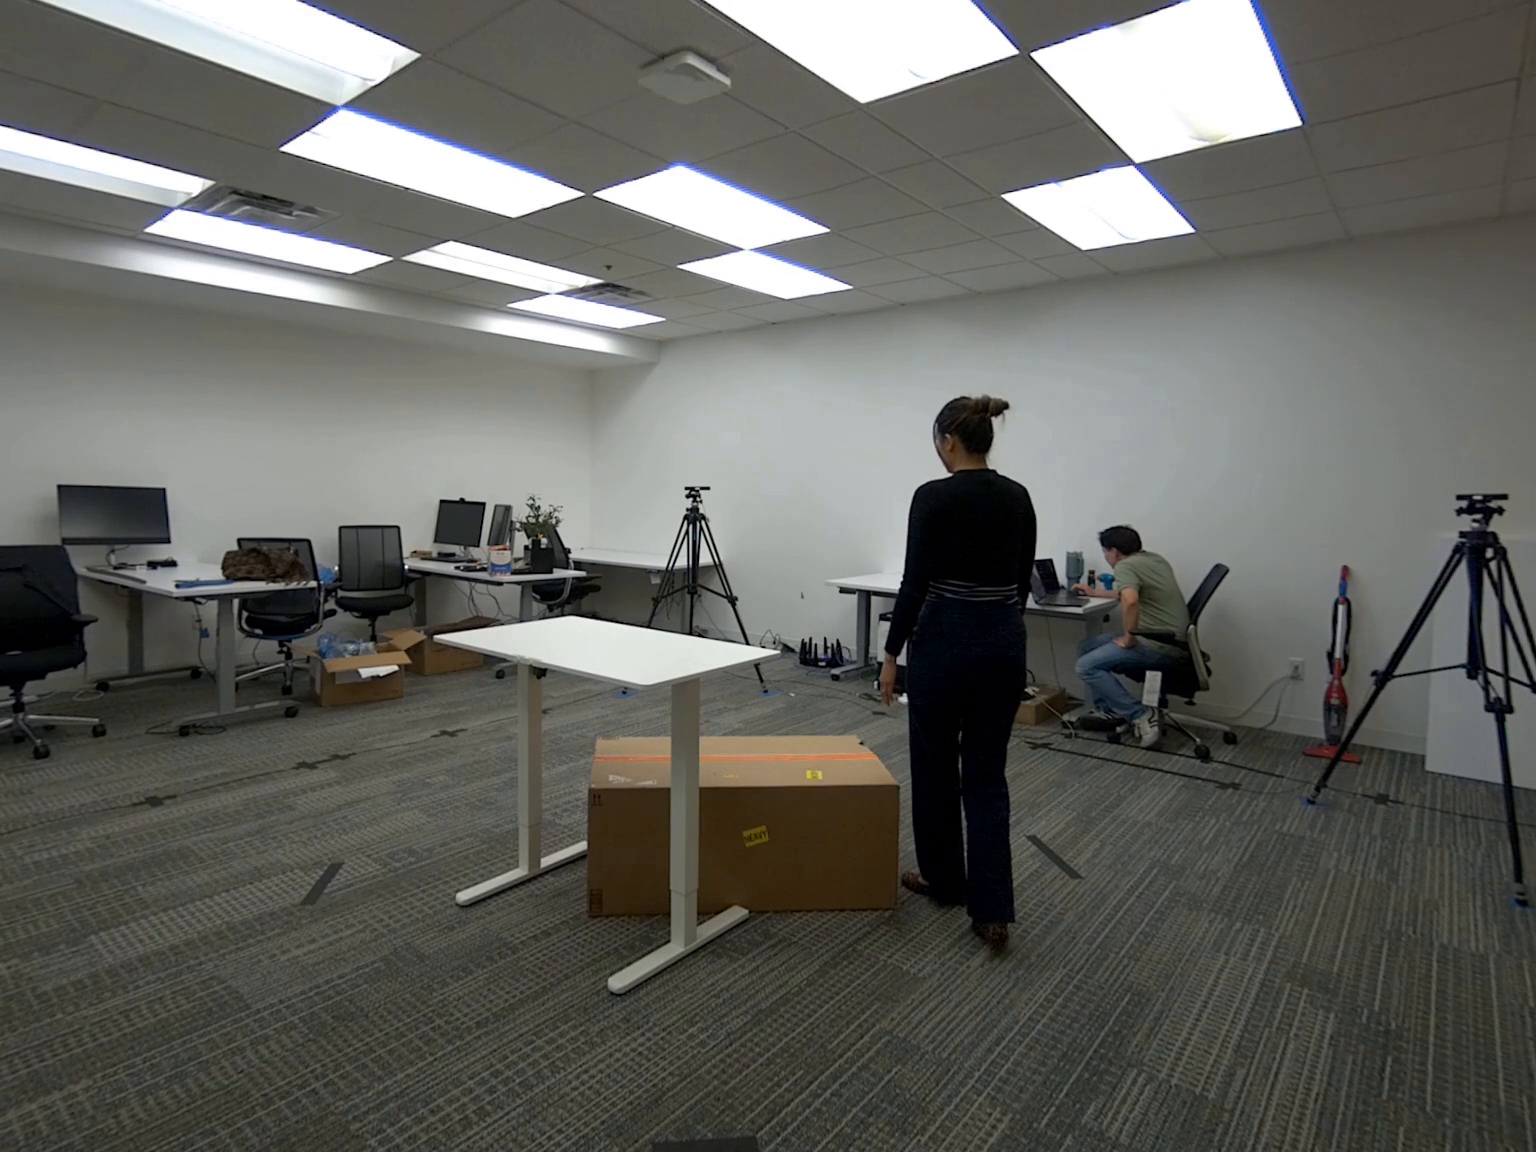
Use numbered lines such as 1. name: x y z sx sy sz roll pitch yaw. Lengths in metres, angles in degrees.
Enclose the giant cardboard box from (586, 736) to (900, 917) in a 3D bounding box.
1. giant cardboard box: -0.124 0.858 3.055 1.020 0.424 0.584 0 6 -6
